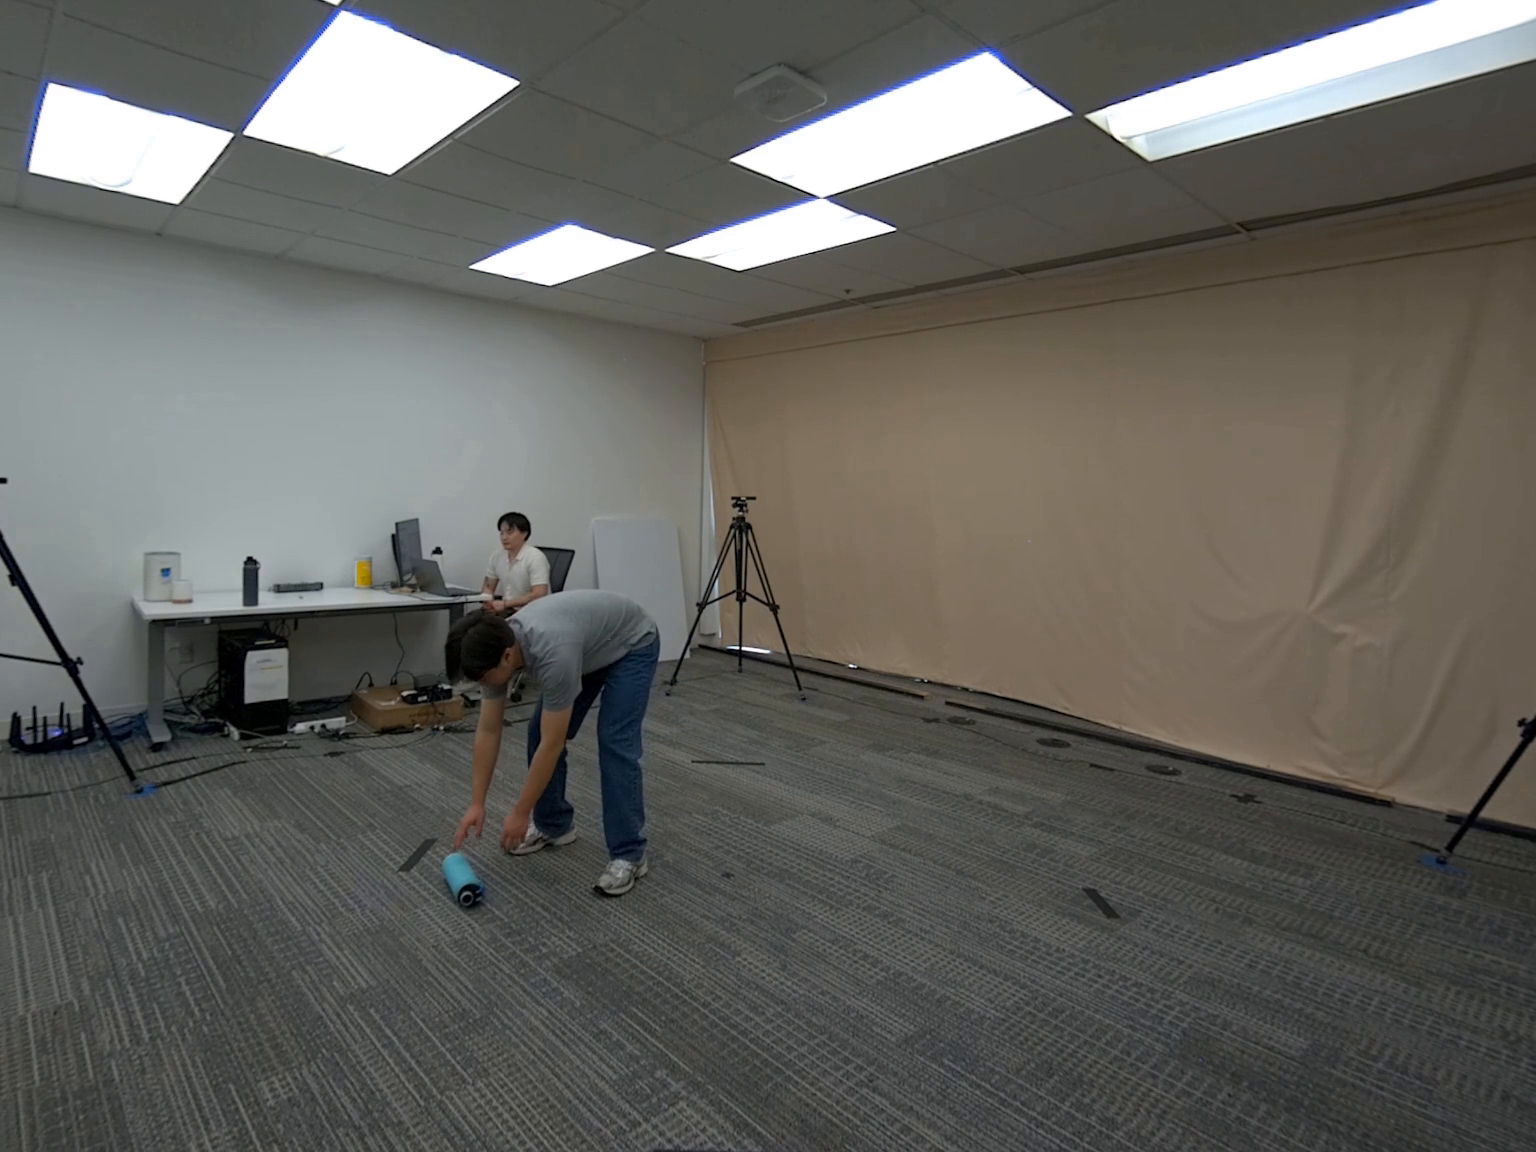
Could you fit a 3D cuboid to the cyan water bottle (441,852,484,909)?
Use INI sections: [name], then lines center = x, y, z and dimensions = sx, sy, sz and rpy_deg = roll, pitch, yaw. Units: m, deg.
[cyan water bottle]
center = -1.063, 1.056, 2.916
dimensions = 0.090, 0.092, 0.290
rpy_deg = -1, 7, -30
